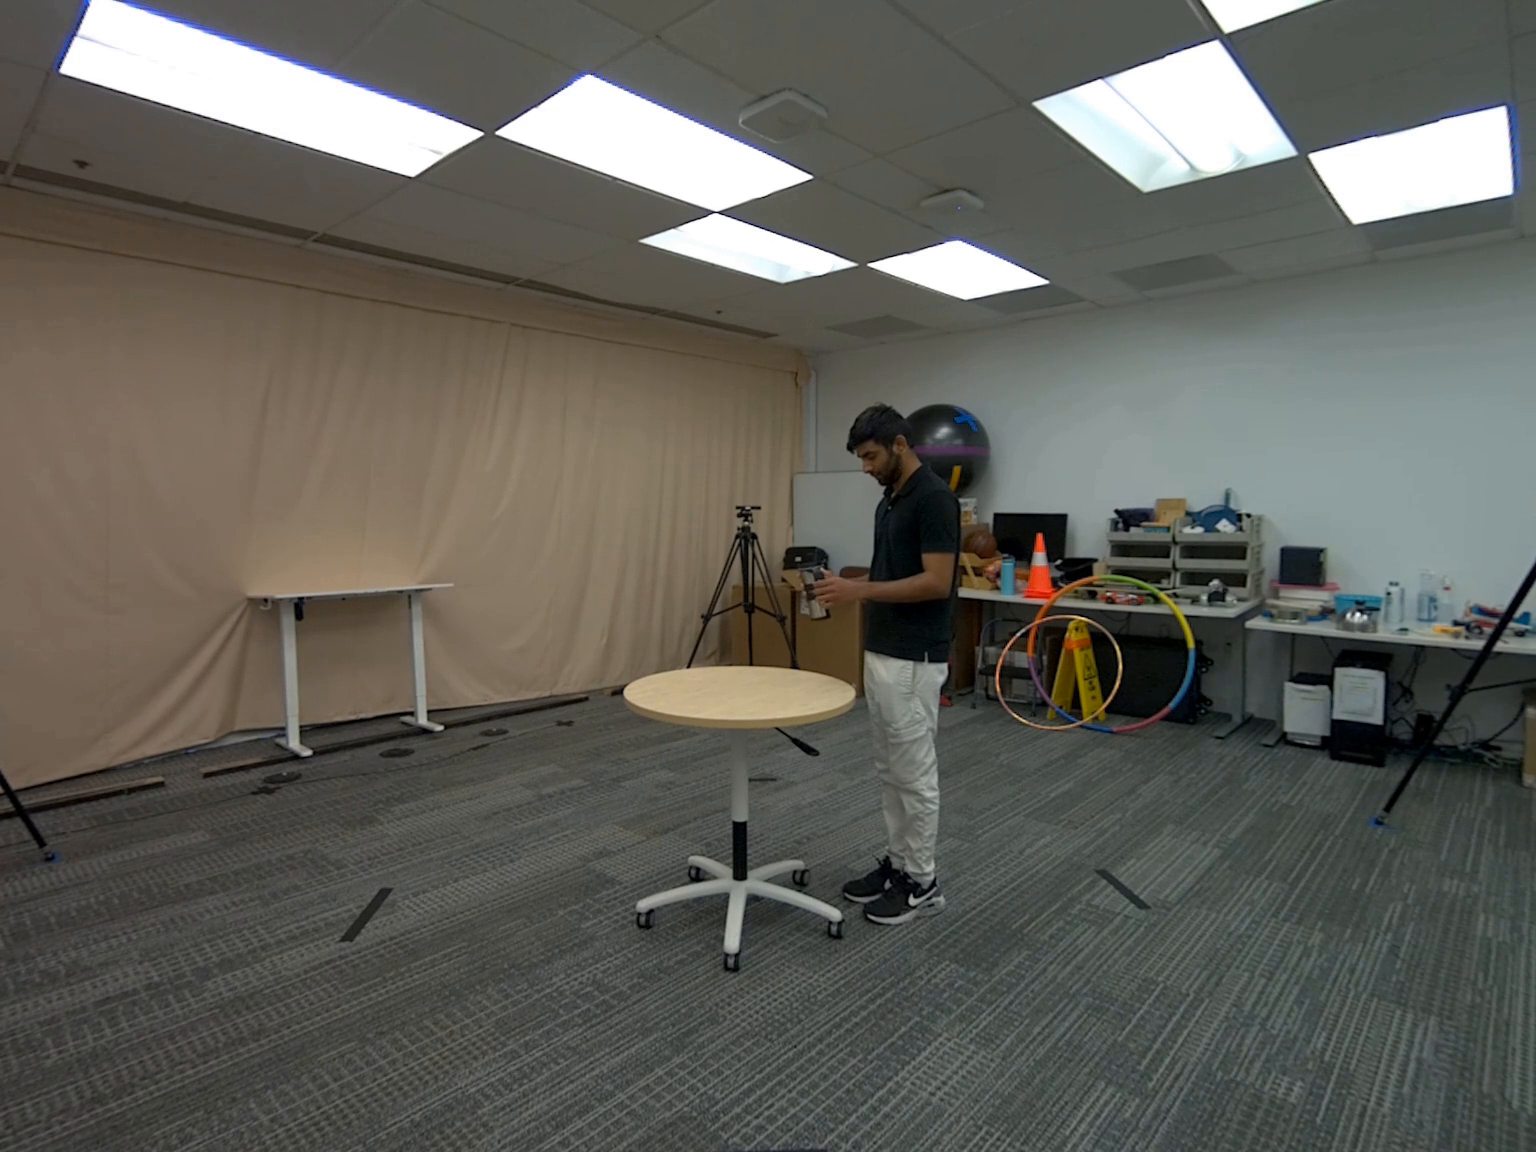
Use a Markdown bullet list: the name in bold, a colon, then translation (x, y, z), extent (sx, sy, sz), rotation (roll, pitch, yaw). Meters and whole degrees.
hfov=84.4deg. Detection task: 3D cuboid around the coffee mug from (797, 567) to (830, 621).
- **coffee mug**: translation (0.161, 0.058, 2.935), extent (0.090, 0.203, 0.119), rotation (-8, 0, 31)
